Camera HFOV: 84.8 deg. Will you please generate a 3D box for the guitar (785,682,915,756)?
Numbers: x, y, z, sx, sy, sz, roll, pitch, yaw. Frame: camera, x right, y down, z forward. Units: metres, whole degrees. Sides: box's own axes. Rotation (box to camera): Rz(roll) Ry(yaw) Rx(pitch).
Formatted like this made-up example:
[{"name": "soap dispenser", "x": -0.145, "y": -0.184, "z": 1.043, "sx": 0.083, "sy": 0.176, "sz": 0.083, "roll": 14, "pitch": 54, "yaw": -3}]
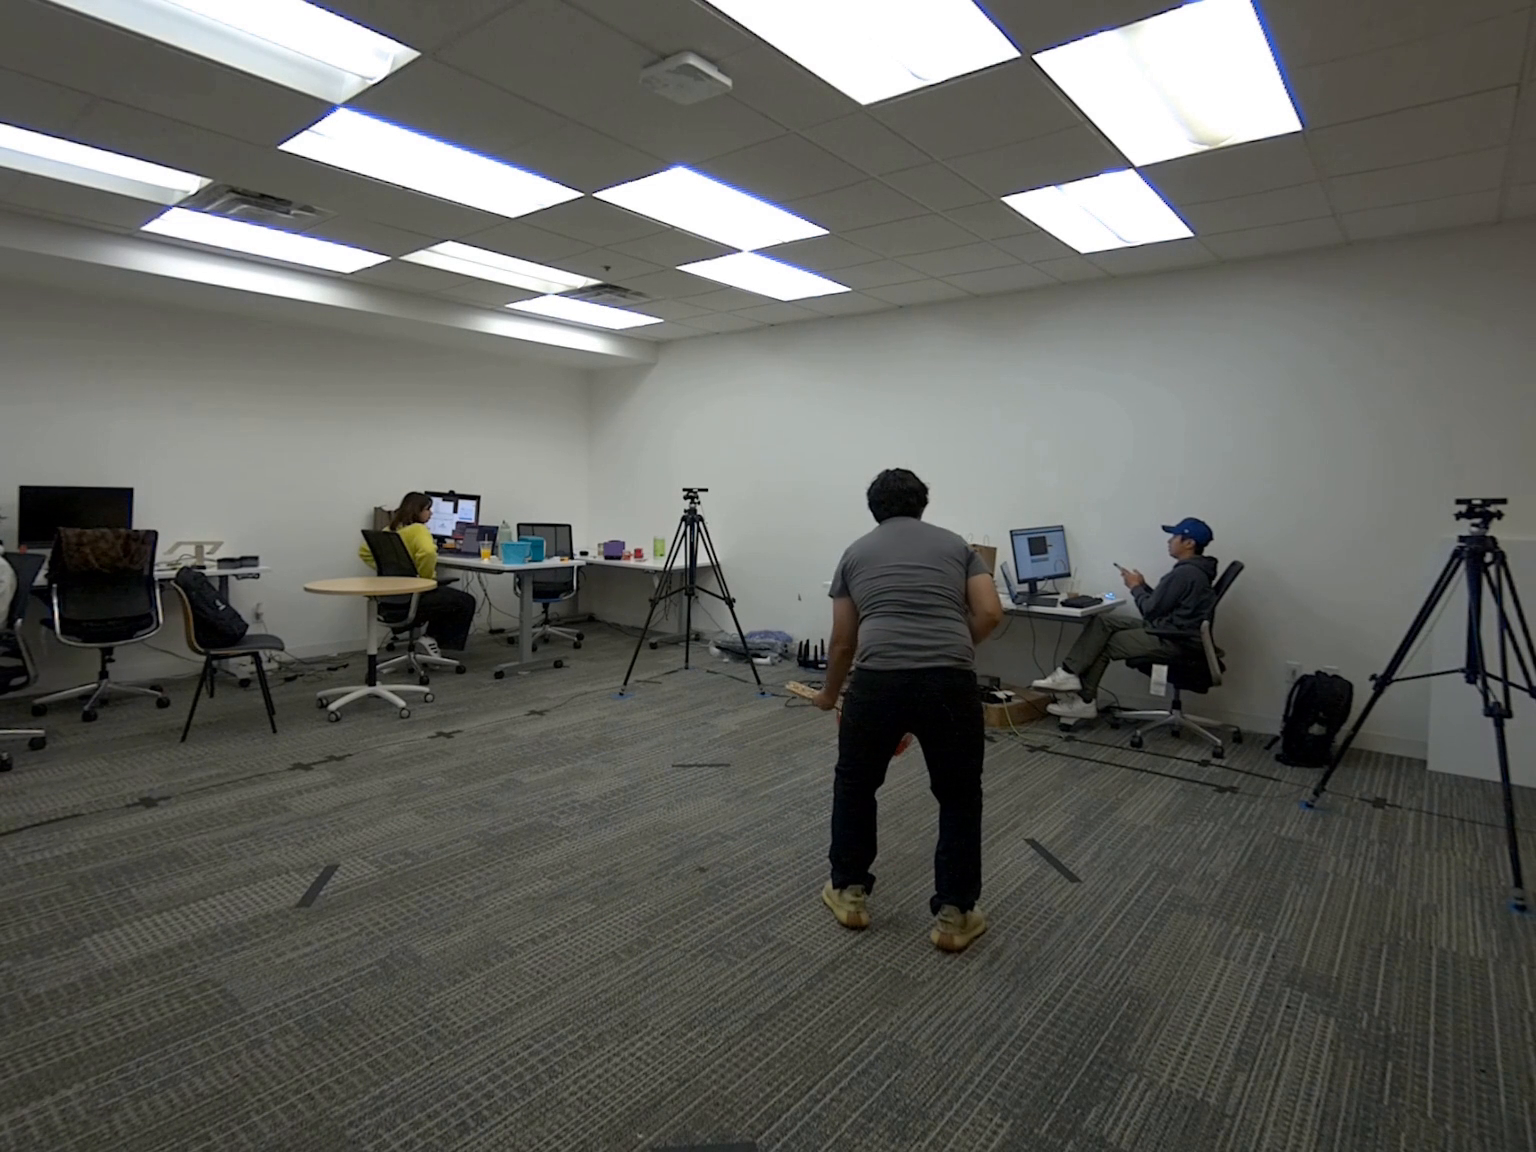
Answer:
[{"name": "guitar", "x": 0.297, "y": 0.499, "z": 3.141, "sx": 0.517, "sy": 0.069, "sz": 0.190, "roll": 23, "pitch": 35, "yaw": 35}]
